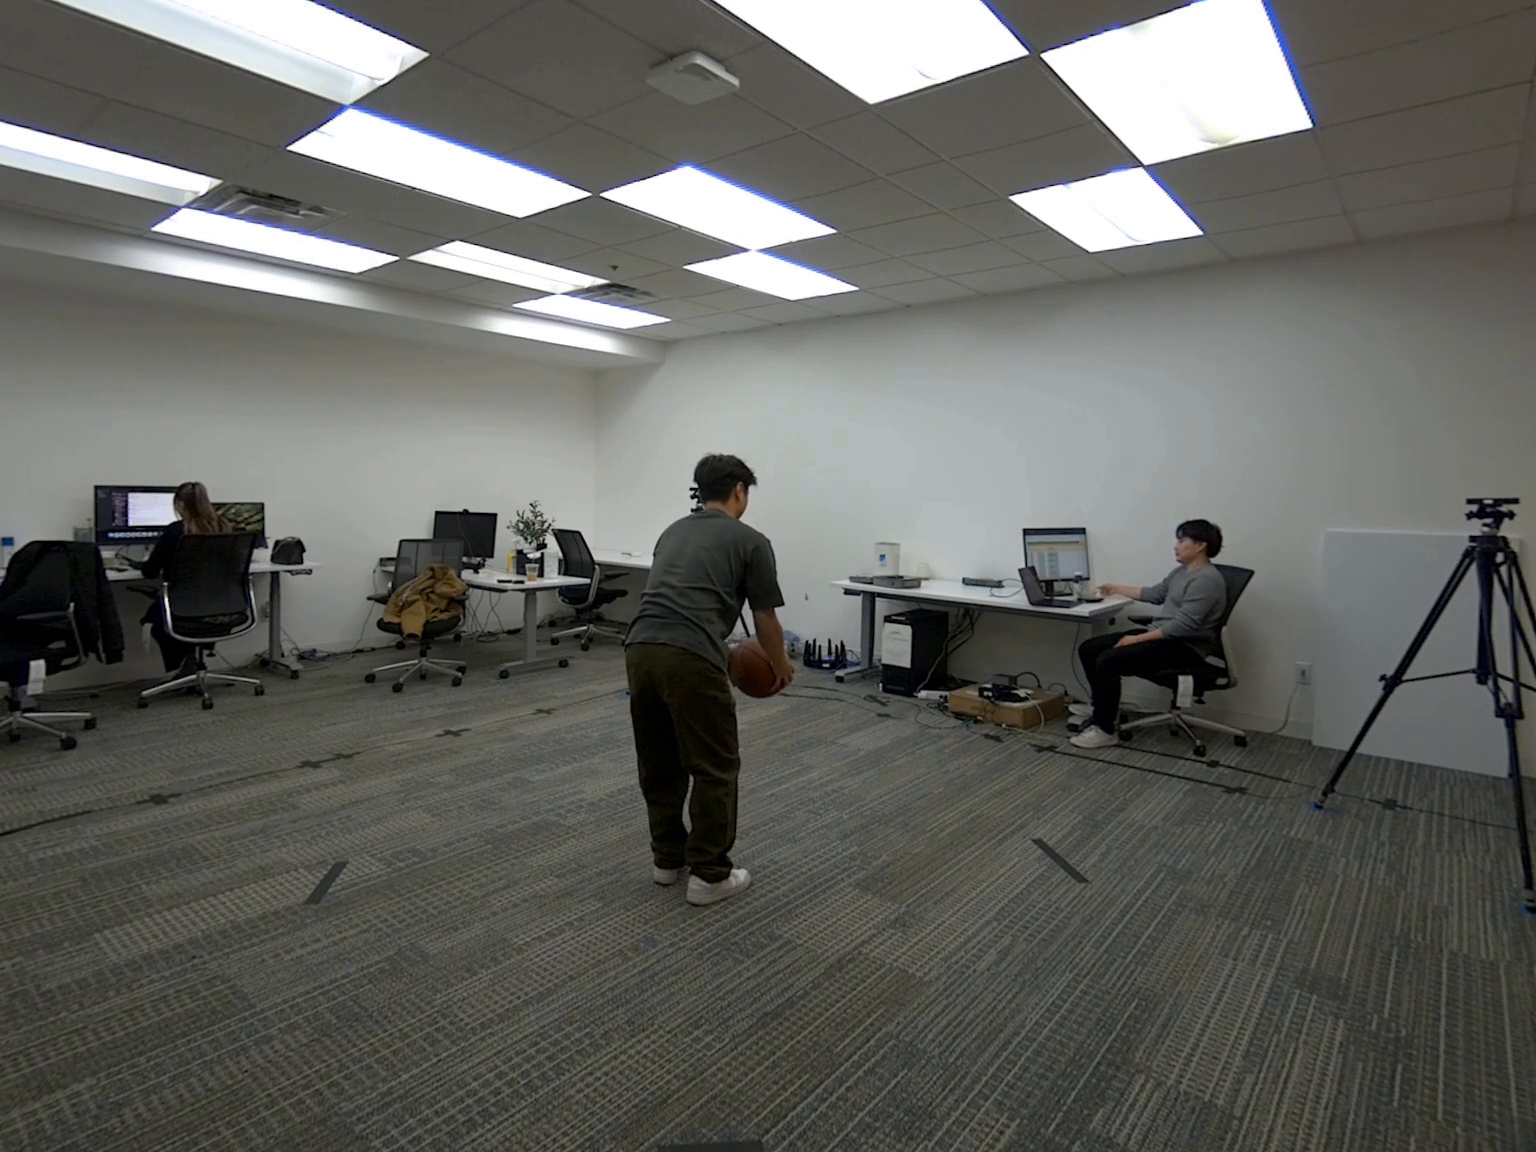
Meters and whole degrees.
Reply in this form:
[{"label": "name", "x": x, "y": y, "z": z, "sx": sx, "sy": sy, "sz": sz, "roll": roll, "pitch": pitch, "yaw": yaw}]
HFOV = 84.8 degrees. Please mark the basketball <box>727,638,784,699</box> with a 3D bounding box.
[{"label": "basketball", "x": -0.037, "y": 0.346, "z": 3.284, "sx": 0.235, "sy": 0.235, "sz": 0.237, "roll": 1, "pitch": 4, "yaw": -2}]
